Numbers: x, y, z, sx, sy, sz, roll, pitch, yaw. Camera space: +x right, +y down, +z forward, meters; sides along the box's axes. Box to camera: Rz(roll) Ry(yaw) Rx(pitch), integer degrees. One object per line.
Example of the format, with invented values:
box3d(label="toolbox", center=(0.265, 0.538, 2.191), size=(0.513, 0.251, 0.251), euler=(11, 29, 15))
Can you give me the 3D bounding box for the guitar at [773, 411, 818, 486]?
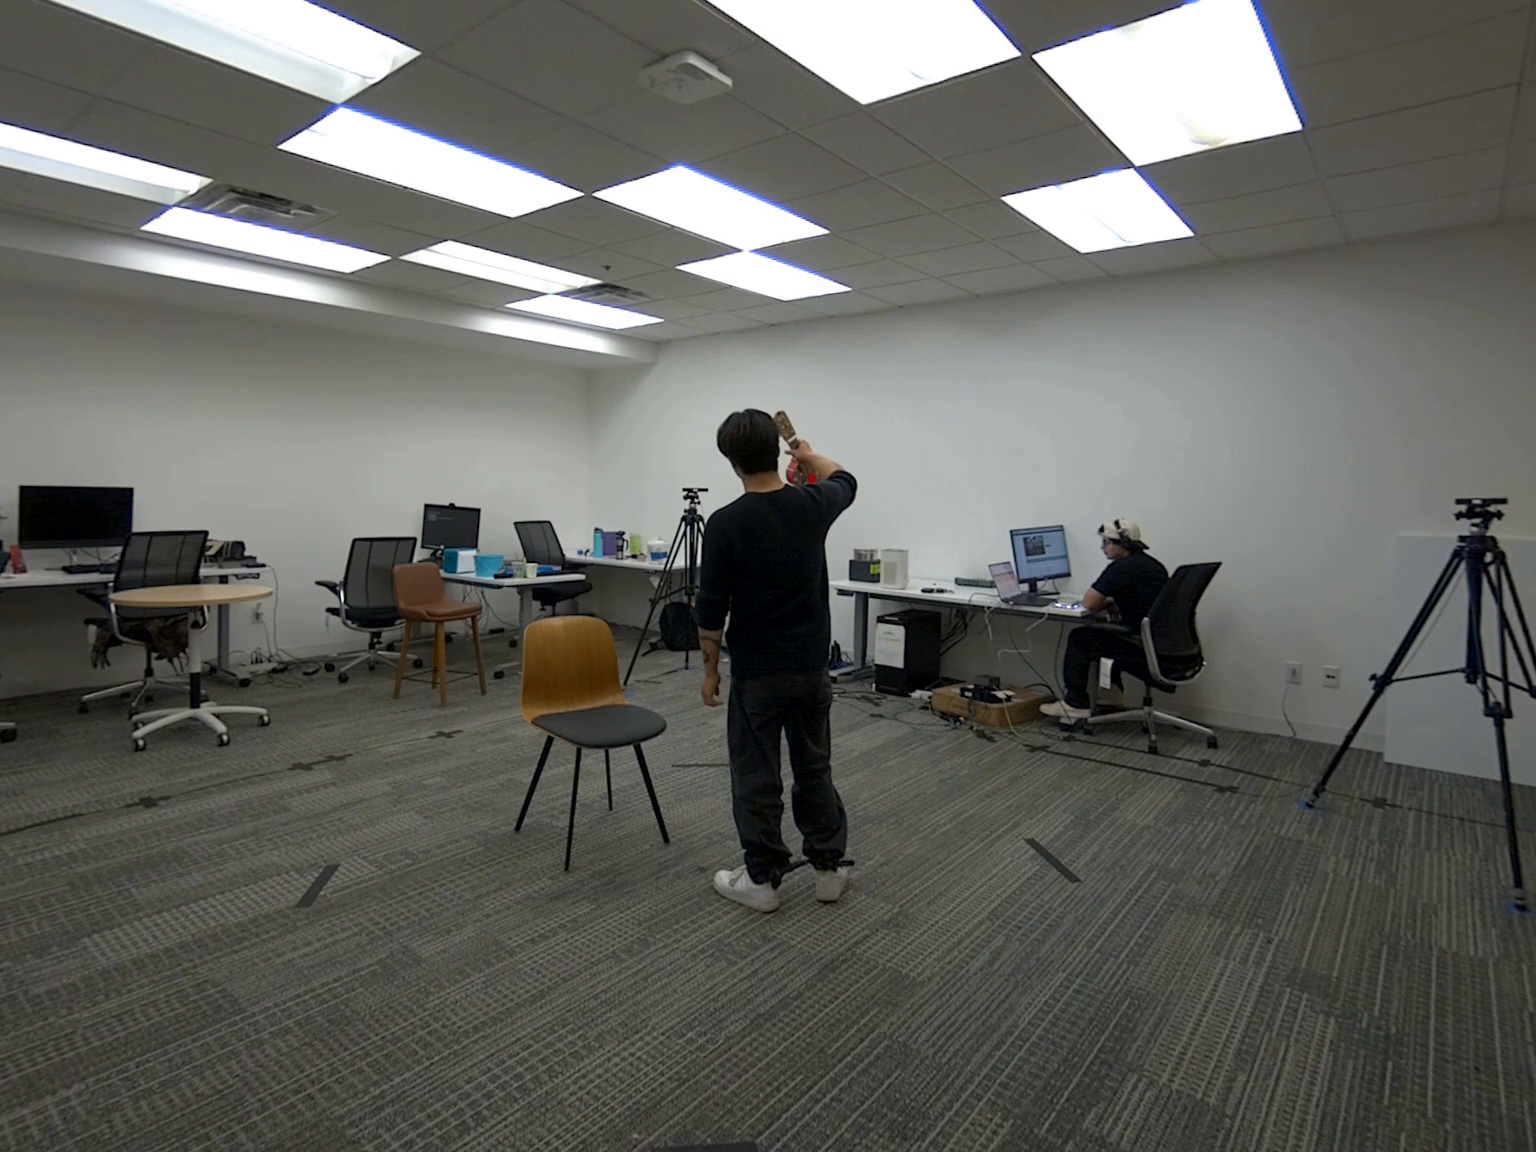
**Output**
box3d(label="guitar", center=(0.142, -0.460, 3.422), size=(0.191, 0.484, 0.073), euler=(-27, 25, -16))
